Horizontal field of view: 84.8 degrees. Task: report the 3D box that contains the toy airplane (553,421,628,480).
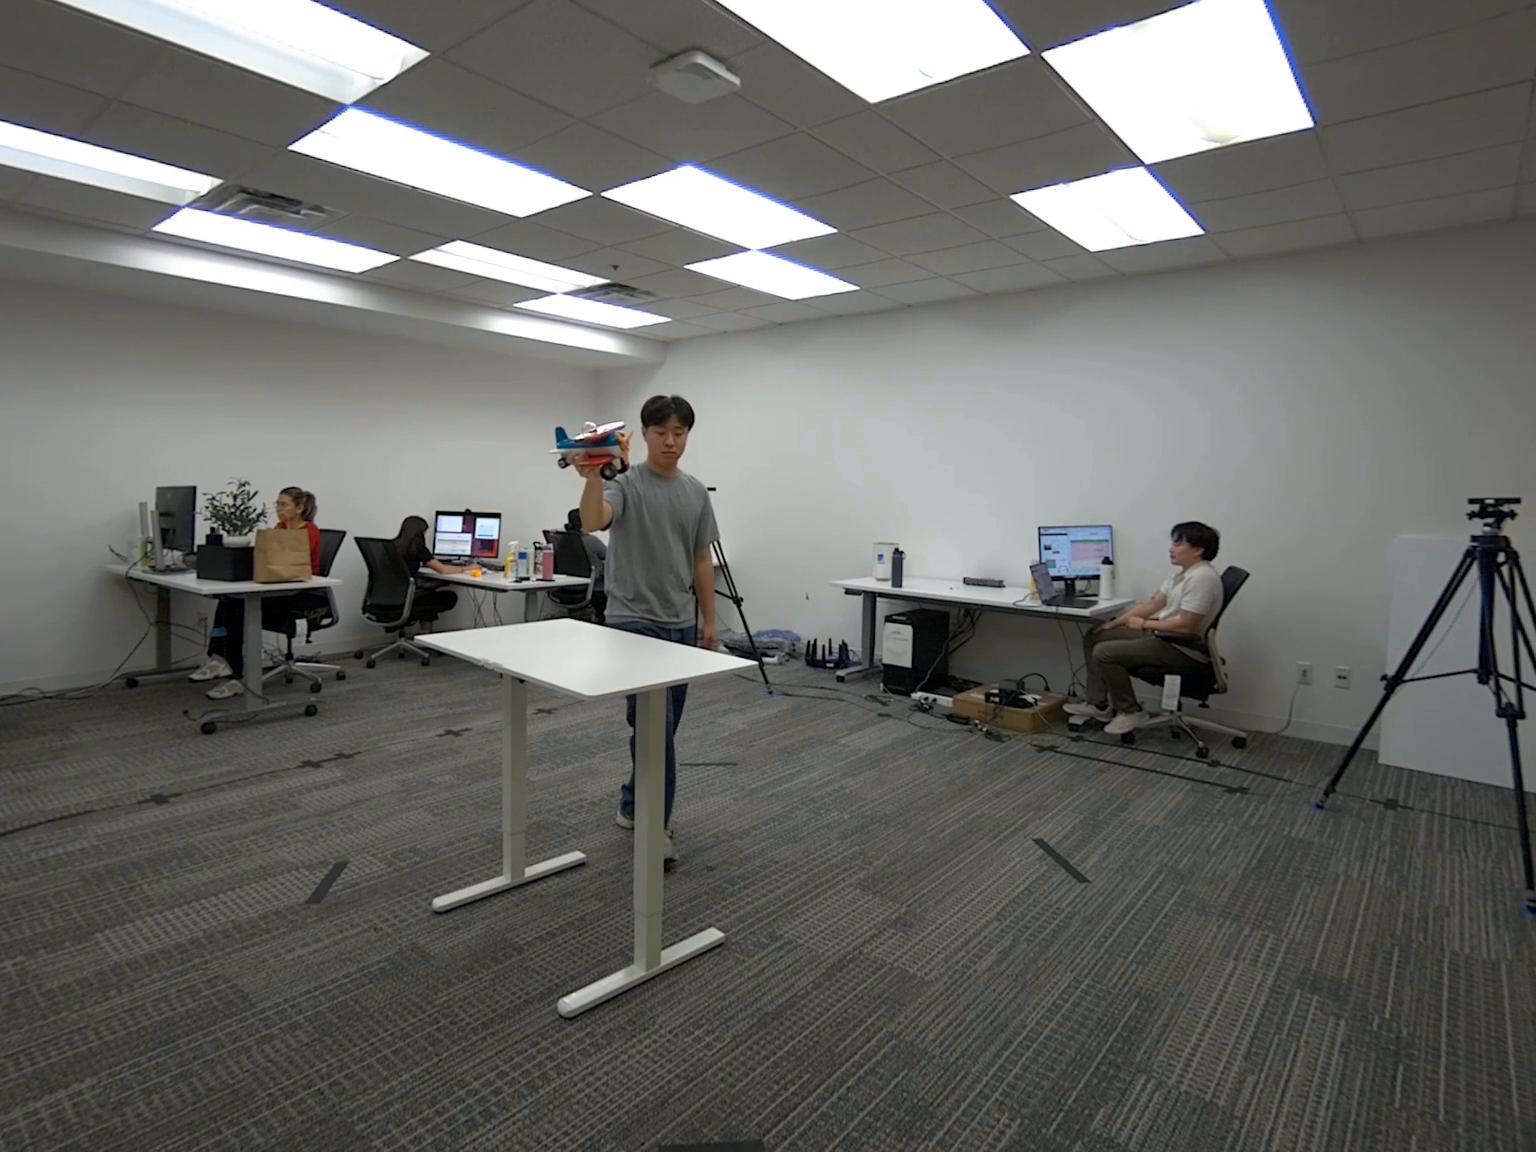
[{"bbox_3d":[-0.583,-0.400,2.701,0.256,0.154,0.259,1,23,-12],"label":"toy airplane"}]
